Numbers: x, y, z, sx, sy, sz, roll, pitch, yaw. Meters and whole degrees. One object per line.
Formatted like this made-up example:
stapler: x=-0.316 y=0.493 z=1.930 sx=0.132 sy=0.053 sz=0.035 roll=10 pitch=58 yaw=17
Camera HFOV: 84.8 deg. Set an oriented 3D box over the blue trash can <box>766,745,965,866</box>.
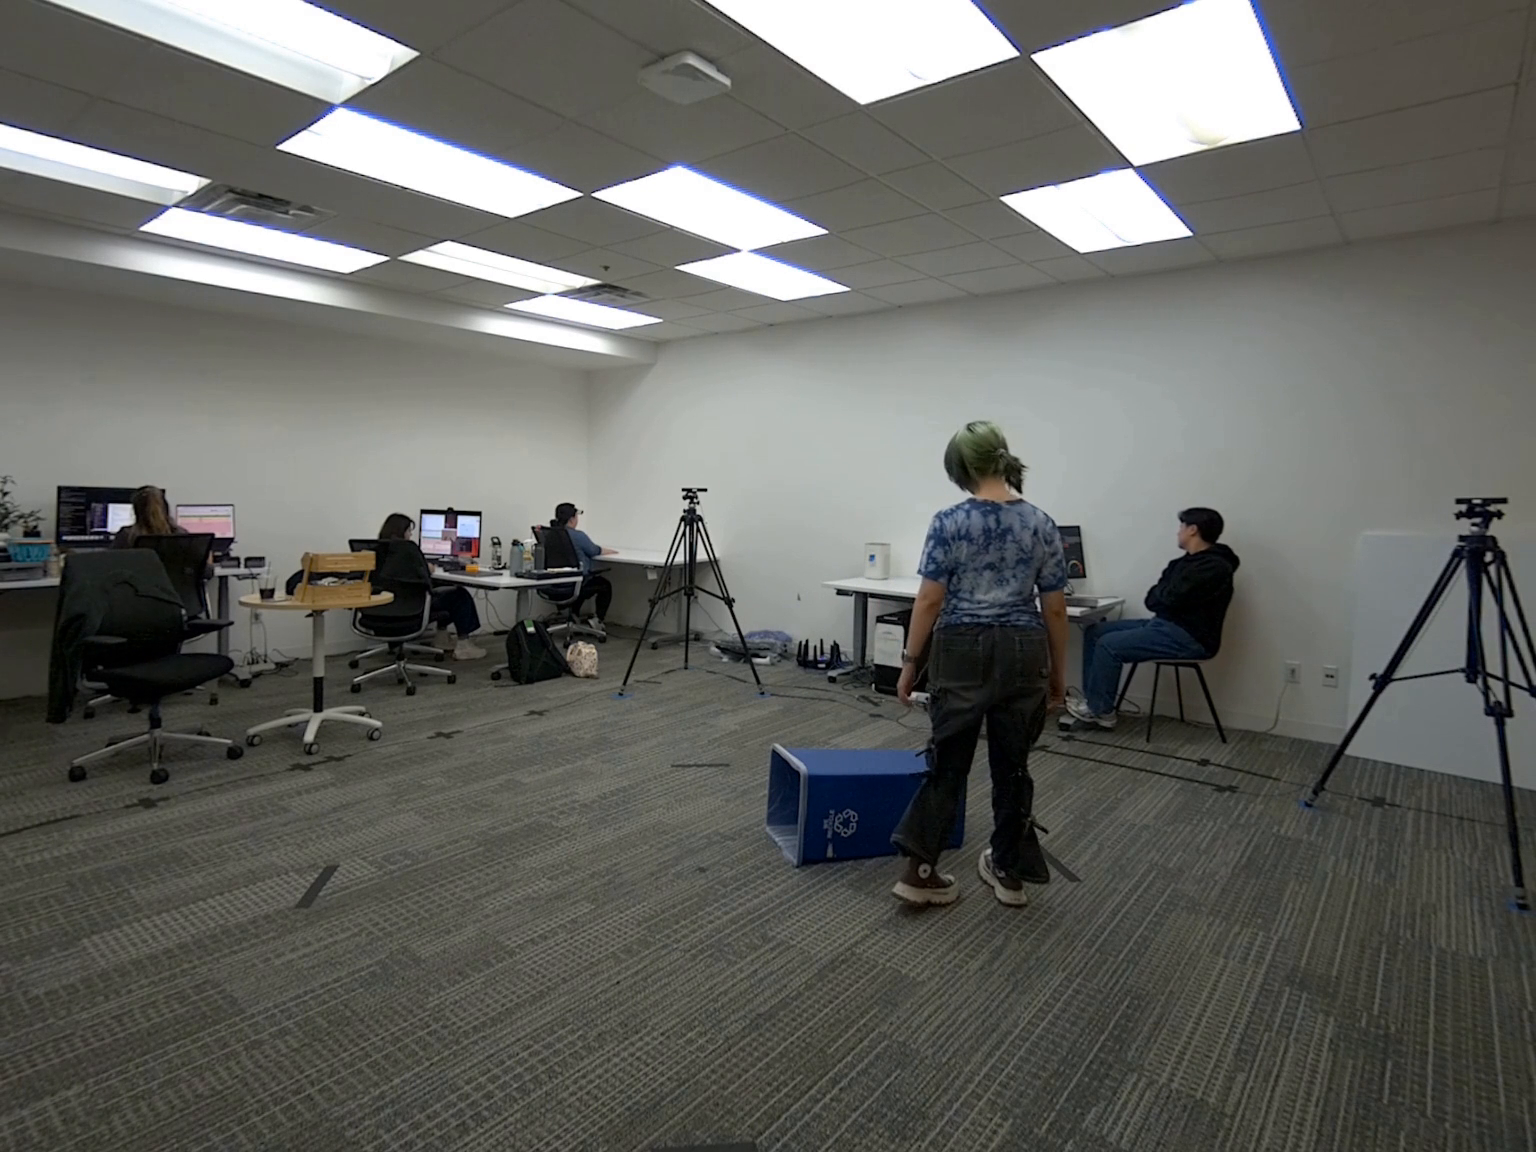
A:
blue trash can: x=0.380 y=0.879 z=3.389 sx=0.701 sy=0.373 sz=0.386 roll=2 pitch=4 yaw=-17
